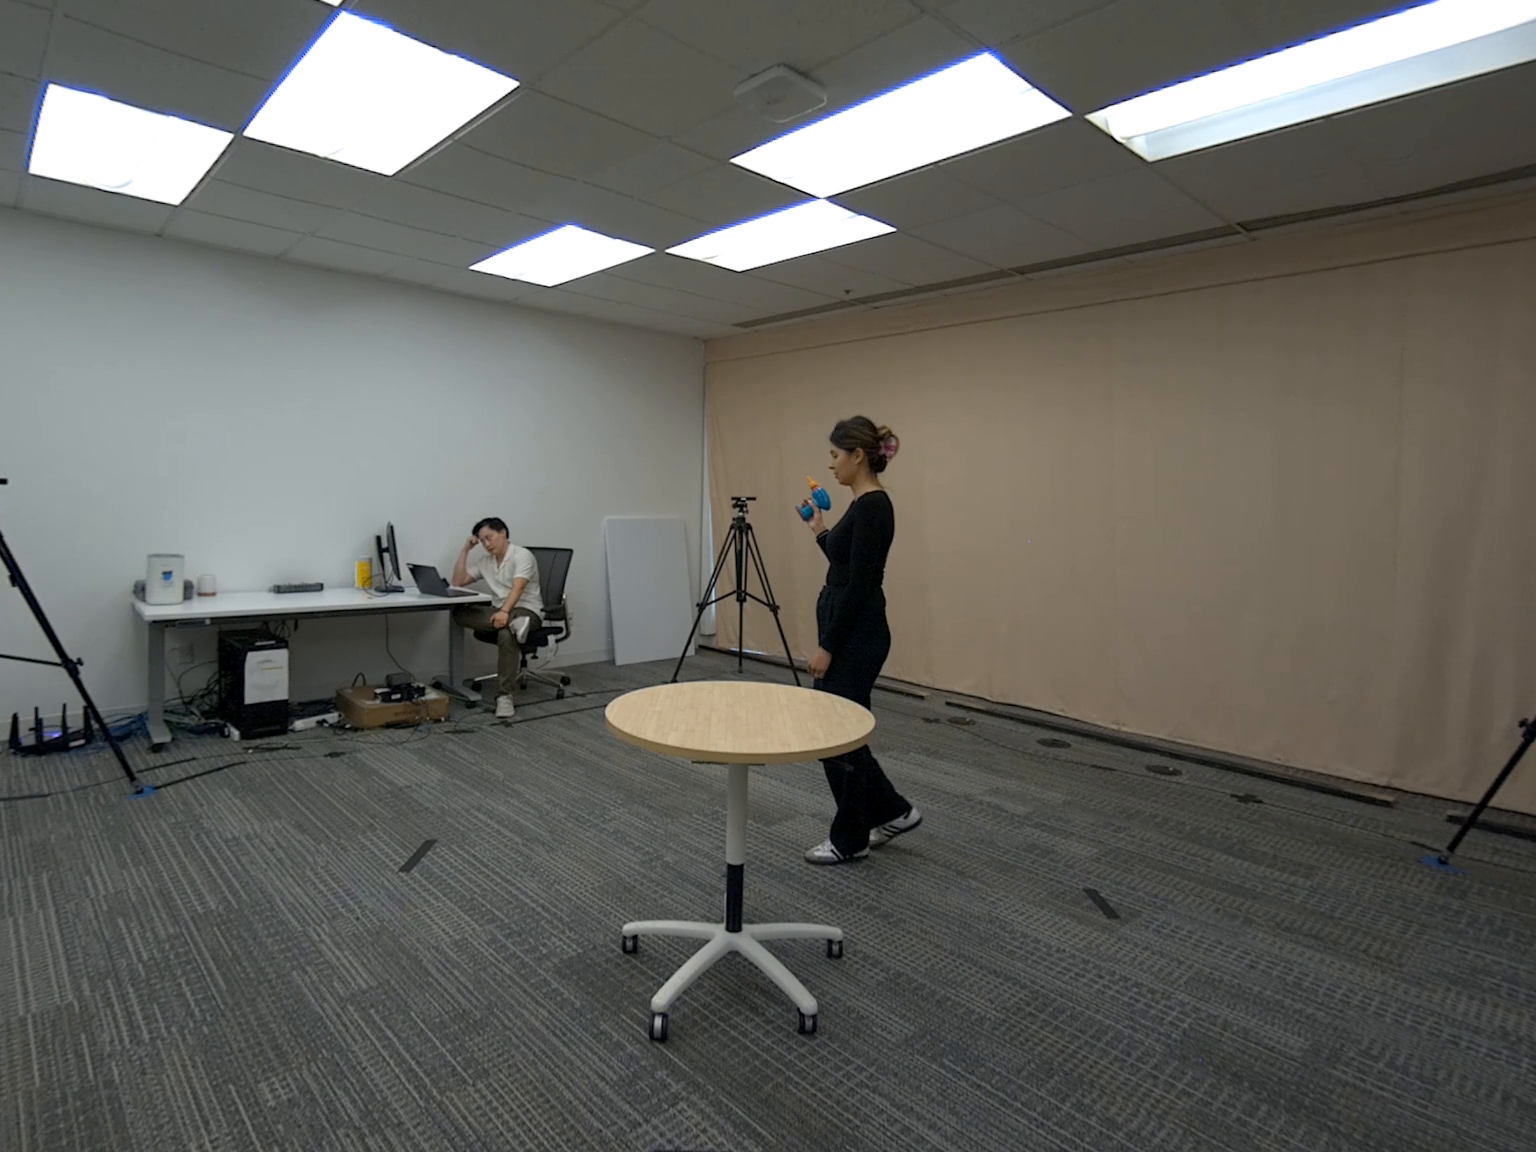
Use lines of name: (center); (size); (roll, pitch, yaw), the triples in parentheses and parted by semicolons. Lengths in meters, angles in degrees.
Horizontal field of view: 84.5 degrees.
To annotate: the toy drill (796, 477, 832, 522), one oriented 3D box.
toy drill: (0.173, -0.327, 3.501); (0.146, 0.171, 0.060); (-29, -9, 1)
